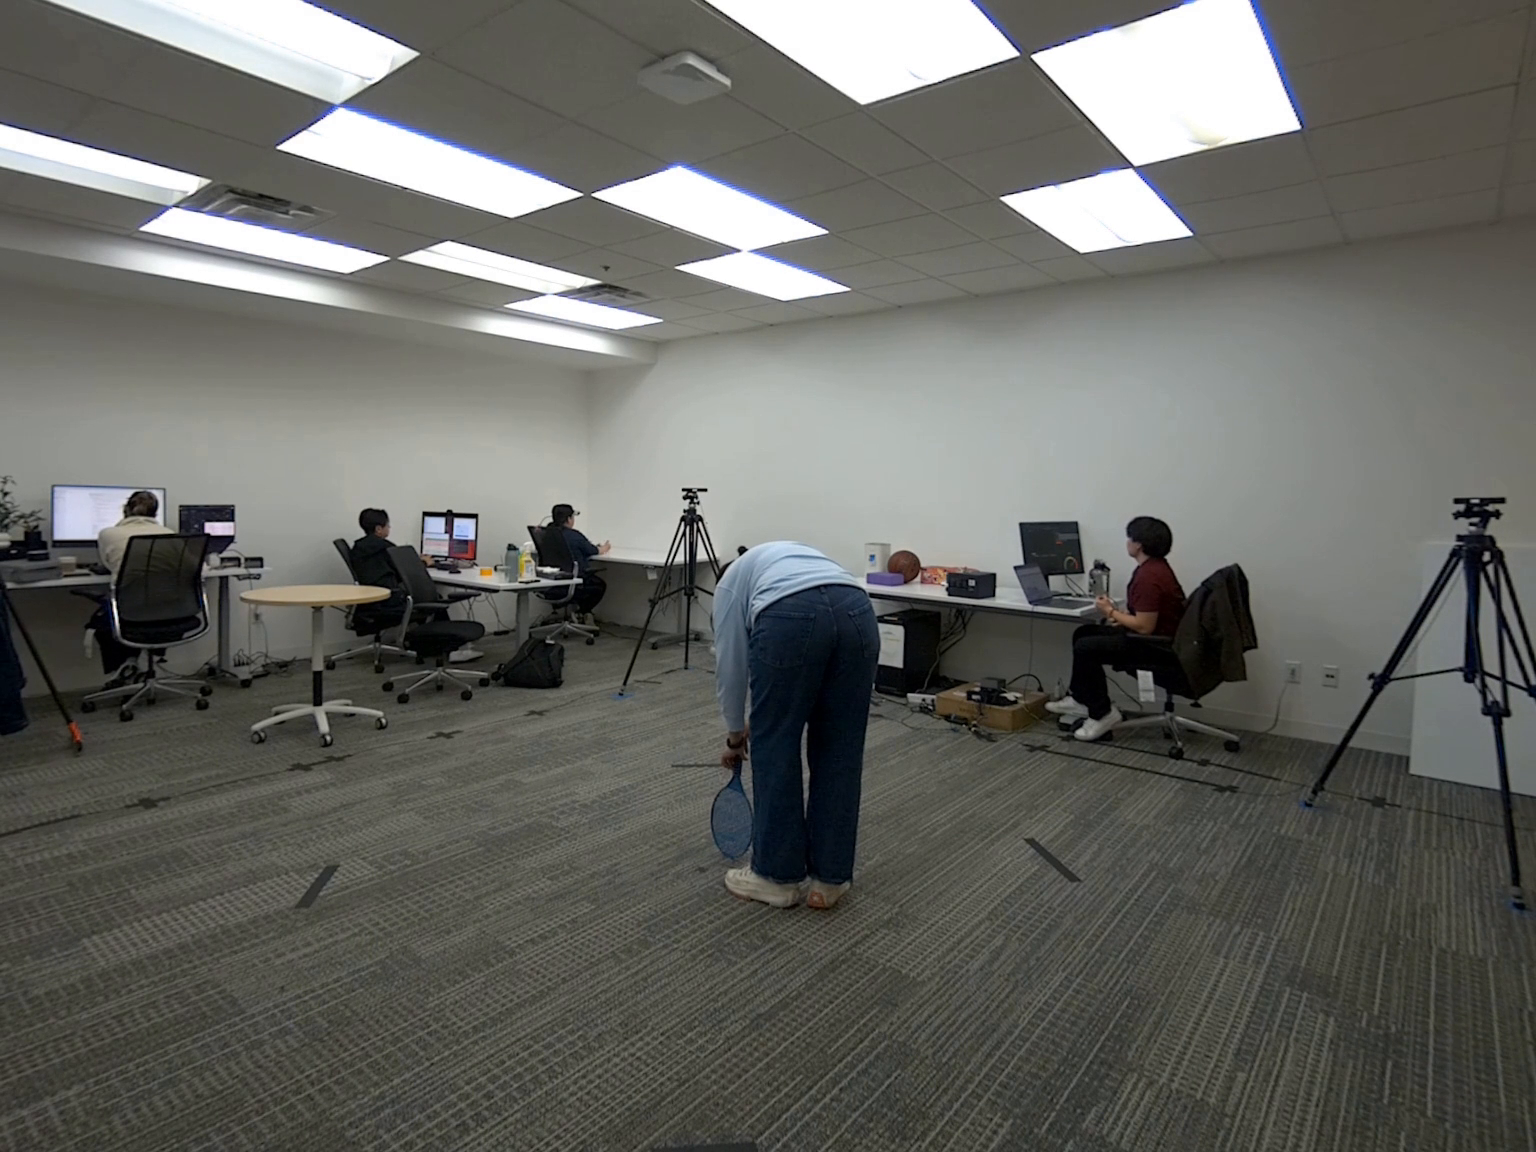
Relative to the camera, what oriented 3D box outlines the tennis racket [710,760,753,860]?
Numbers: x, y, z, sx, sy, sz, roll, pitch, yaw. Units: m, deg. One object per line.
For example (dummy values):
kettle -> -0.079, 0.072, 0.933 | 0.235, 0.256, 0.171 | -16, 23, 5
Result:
tennis racket -> -0.140, 0.847, 3.217 | 0.221, 0.432, 0.031 | 6, 1, 41
